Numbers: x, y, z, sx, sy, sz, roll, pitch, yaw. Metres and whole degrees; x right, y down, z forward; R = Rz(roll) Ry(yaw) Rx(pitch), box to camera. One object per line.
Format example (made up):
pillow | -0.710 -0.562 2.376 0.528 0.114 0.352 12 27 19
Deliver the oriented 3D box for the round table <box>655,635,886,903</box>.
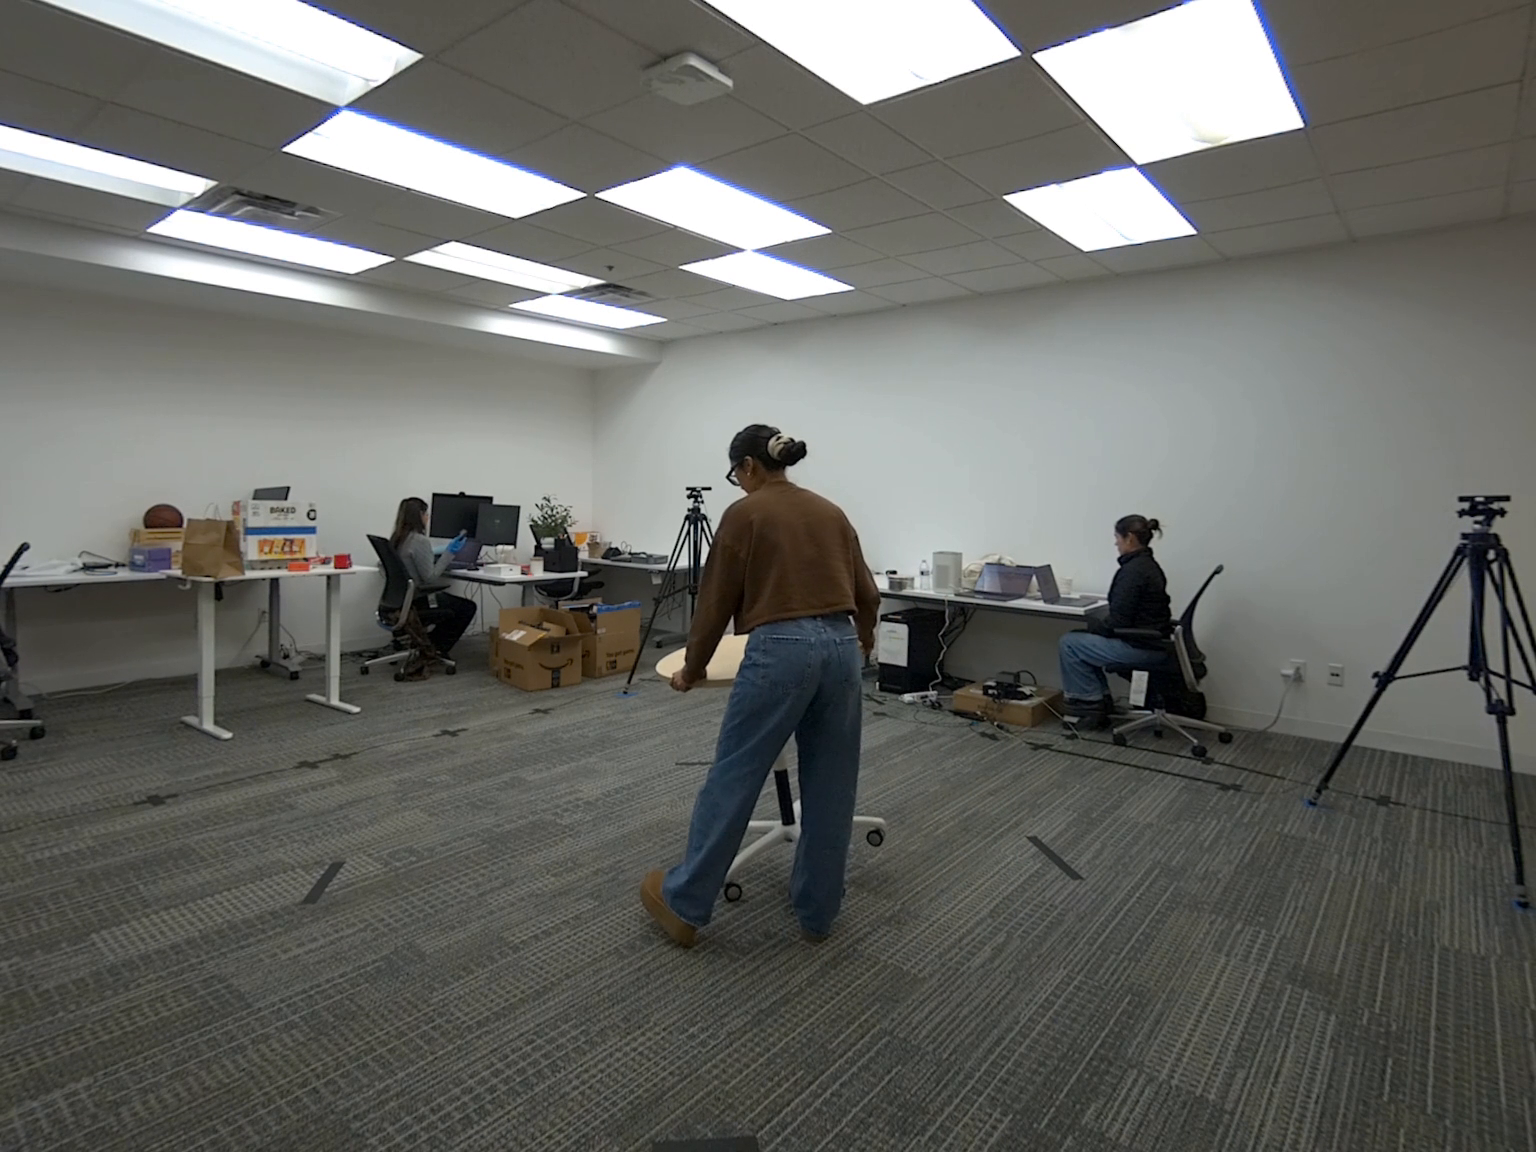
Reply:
round table | 0.029 0.647 3.066 0.764 0.790 0.768 -9 5 -1
